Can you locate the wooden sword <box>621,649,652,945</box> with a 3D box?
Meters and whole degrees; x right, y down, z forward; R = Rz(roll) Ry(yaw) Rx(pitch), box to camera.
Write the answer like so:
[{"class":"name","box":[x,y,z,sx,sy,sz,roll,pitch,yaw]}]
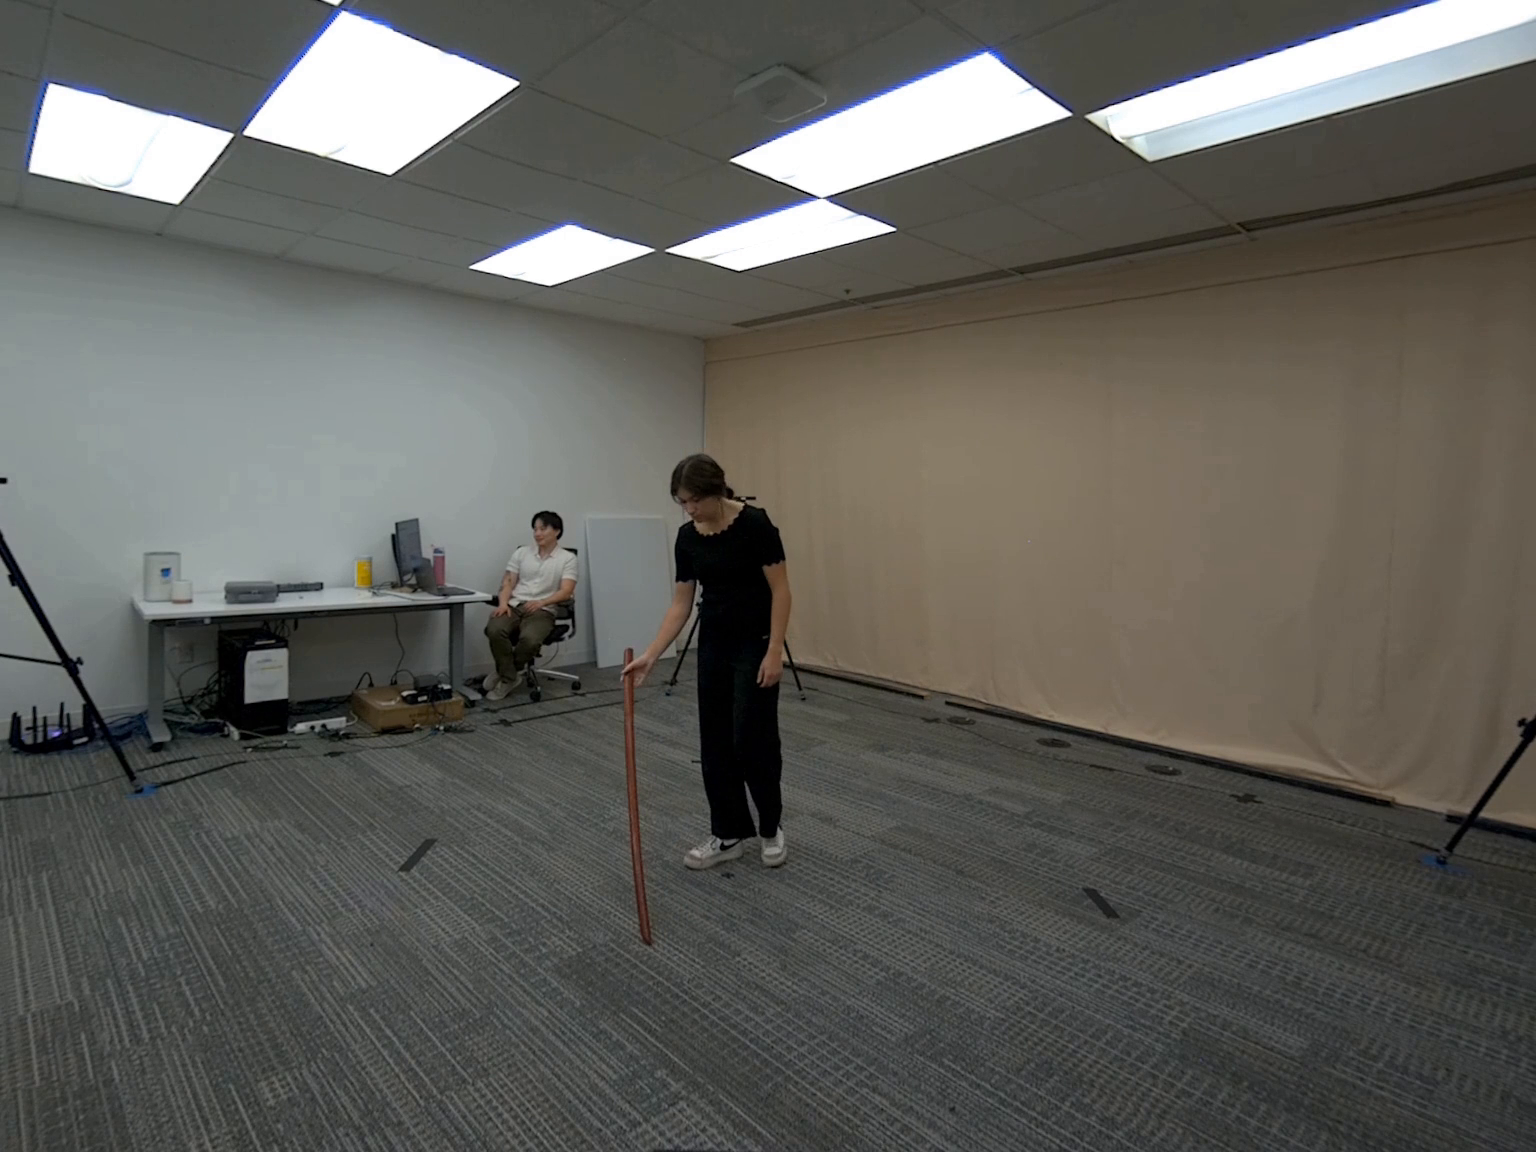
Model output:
[{"class":"wooden sword","box":[-0.455,0.727,2.882,0.050,1.050,0.024,17,-43,-36]}]
